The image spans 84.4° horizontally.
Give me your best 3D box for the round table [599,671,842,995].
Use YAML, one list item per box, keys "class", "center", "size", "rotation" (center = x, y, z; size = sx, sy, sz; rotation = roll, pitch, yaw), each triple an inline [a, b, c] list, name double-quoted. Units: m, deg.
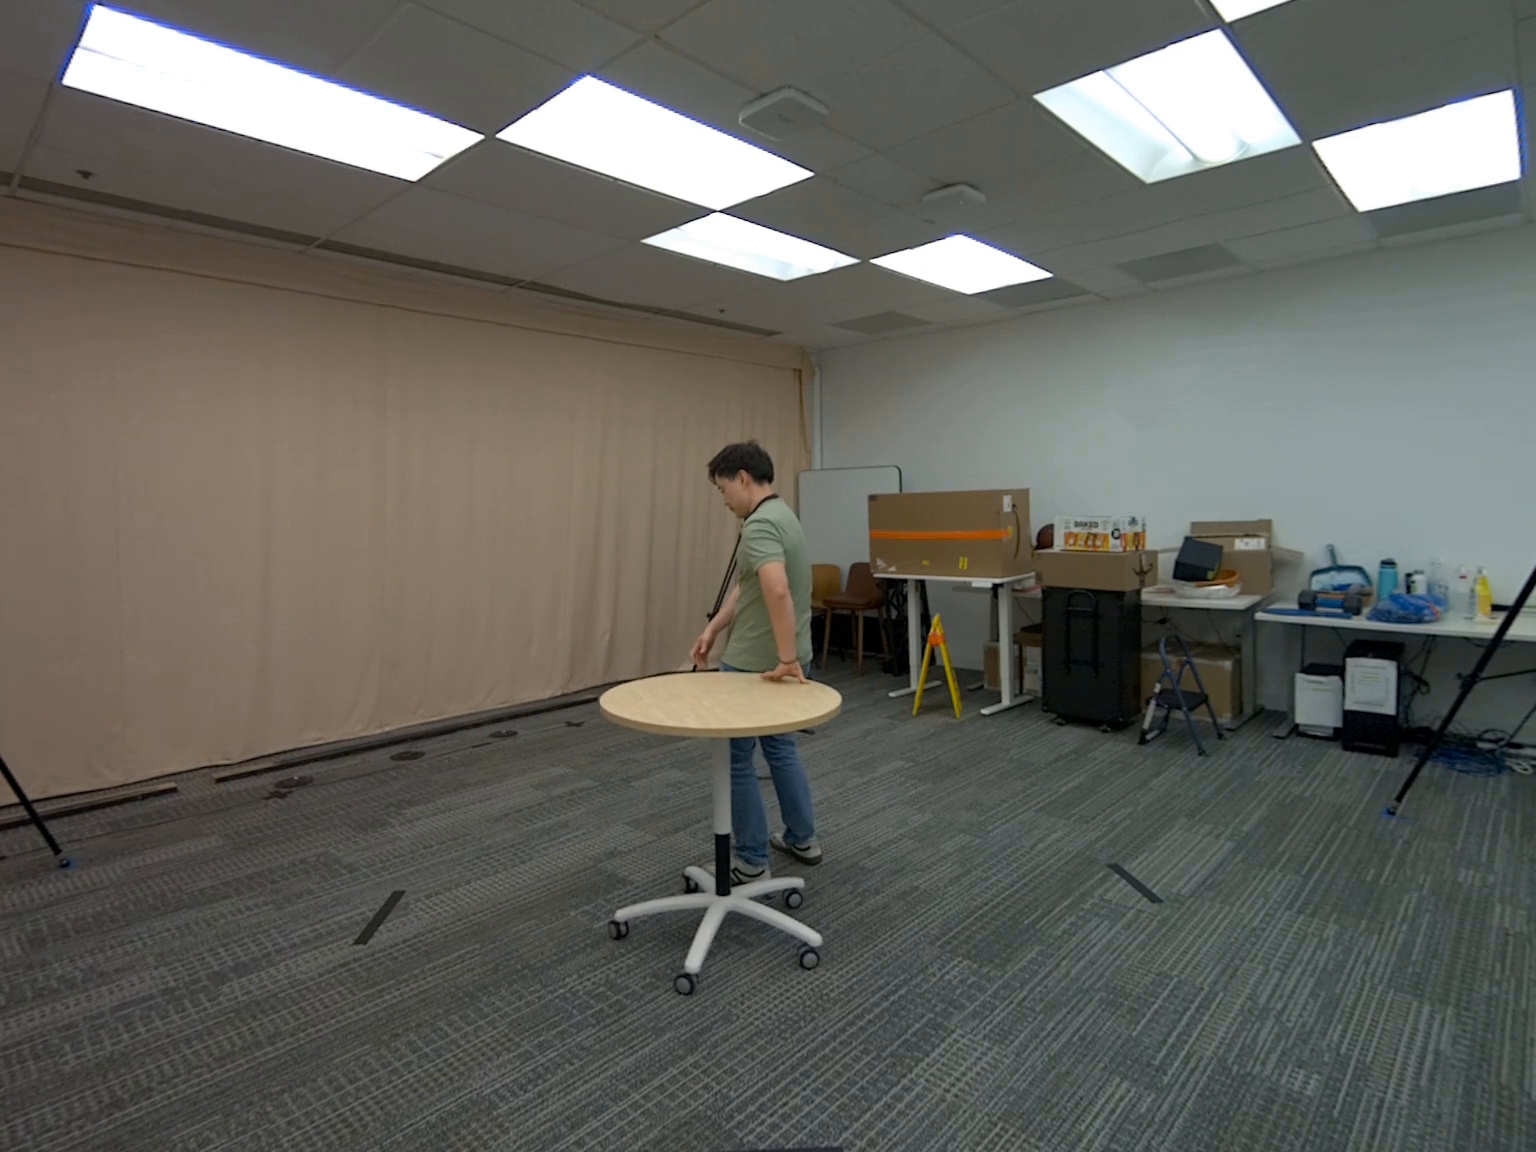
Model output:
- class: "round table"
  center: [-0.150, 0.775, 2.706]
  size: [0.763, 0.792, 0.767]
  rotation: [-1, 4, -2]
